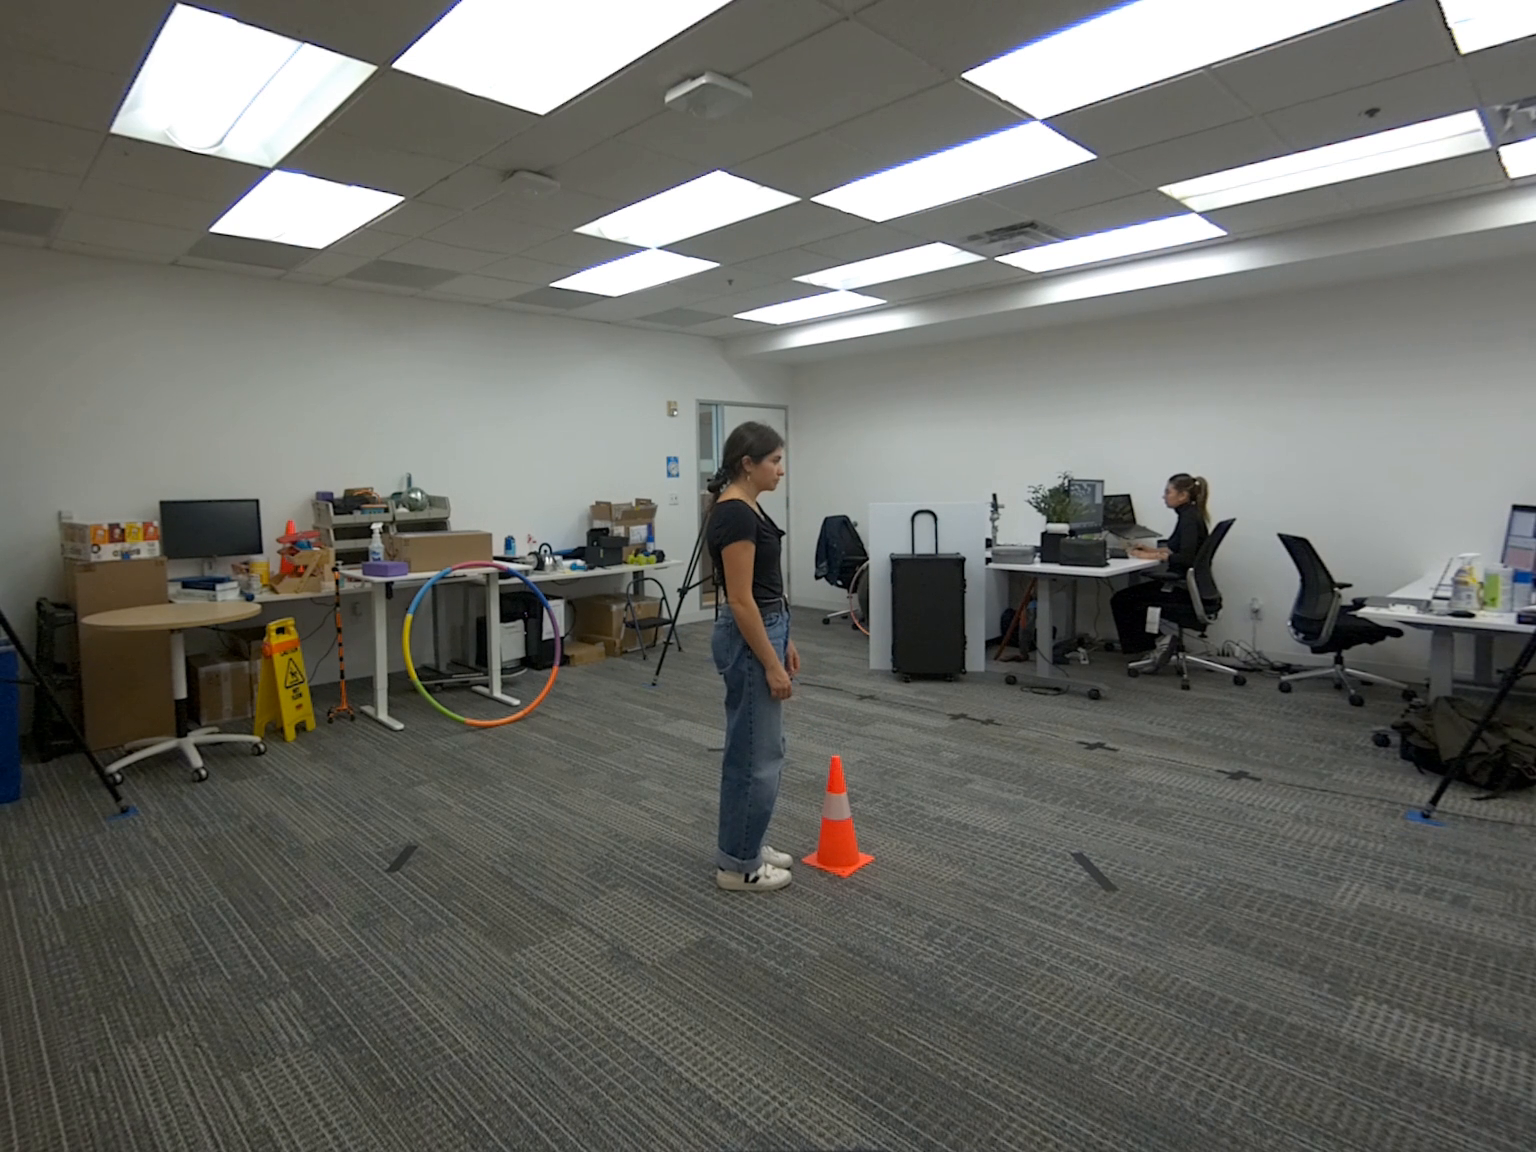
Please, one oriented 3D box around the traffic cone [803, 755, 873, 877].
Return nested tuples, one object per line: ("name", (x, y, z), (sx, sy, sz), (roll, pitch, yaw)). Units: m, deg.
("traffic cone", (0.244, 0.850, 3.125), (0.211, 0.383, 0.198), (0, 3, 43))
